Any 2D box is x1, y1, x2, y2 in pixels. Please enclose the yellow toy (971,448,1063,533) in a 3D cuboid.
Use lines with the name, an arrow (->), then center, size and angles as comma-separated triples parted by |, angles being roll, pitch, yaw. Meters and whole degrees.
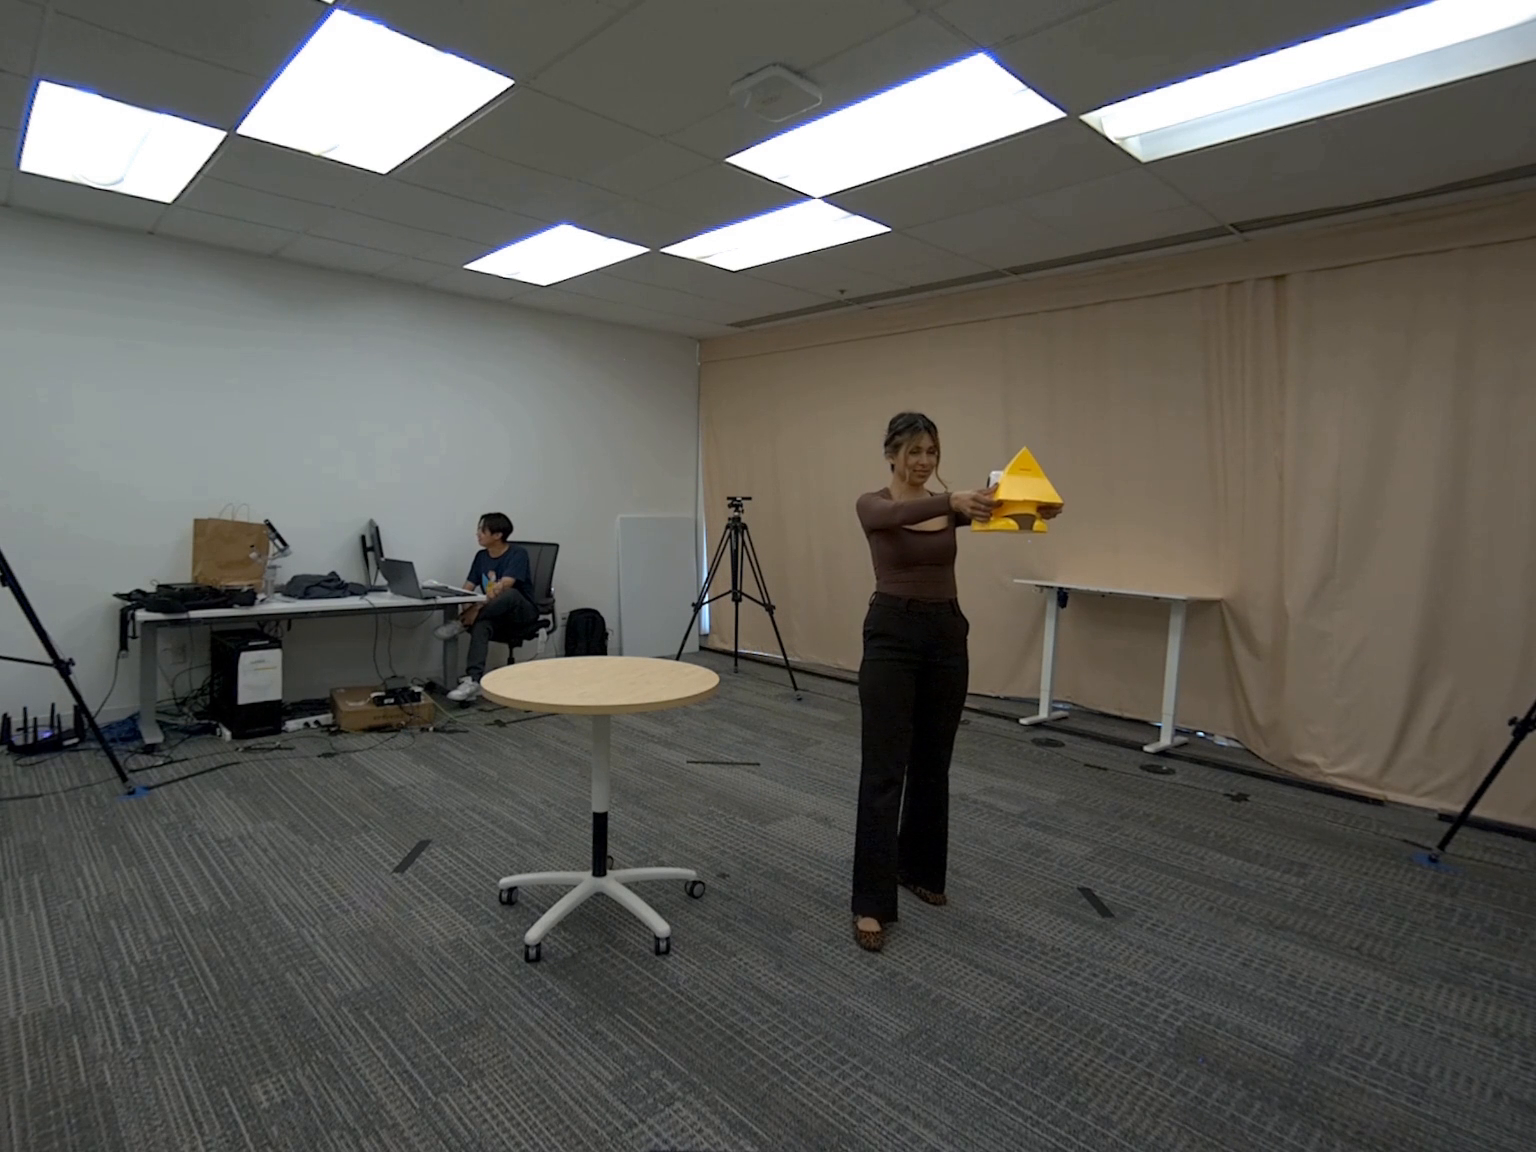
yellow toy -> 0.673, -0.241, 2.357 | 0.202, 0.231, 0.196 | 2, -1, -19
